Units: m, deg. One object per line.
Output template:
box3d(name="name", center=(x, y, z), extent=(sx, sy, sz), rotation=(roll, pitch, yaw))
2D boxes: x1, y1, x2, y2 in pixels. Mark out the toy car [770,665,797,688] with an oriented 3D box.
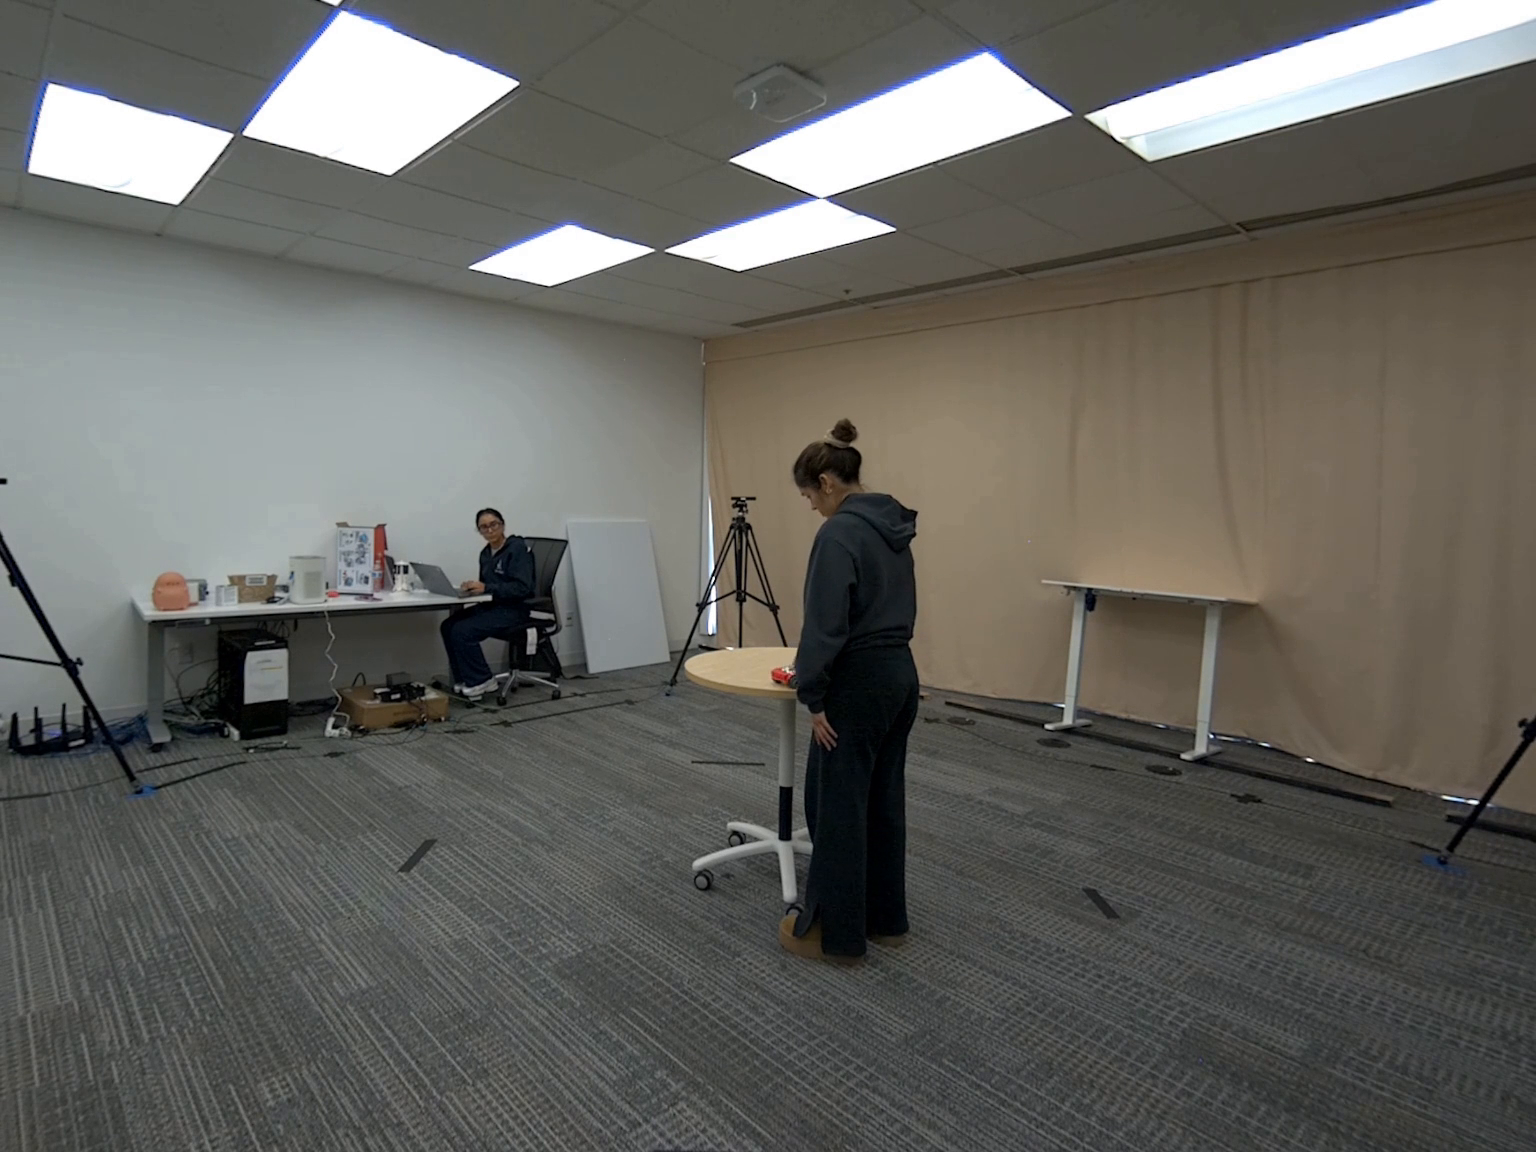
box3d(name="toy car", center=(0.135, 0.332, 2.820), extent=(0.251, 0.082, 0.133), rotation=(-15, 13, -30))
